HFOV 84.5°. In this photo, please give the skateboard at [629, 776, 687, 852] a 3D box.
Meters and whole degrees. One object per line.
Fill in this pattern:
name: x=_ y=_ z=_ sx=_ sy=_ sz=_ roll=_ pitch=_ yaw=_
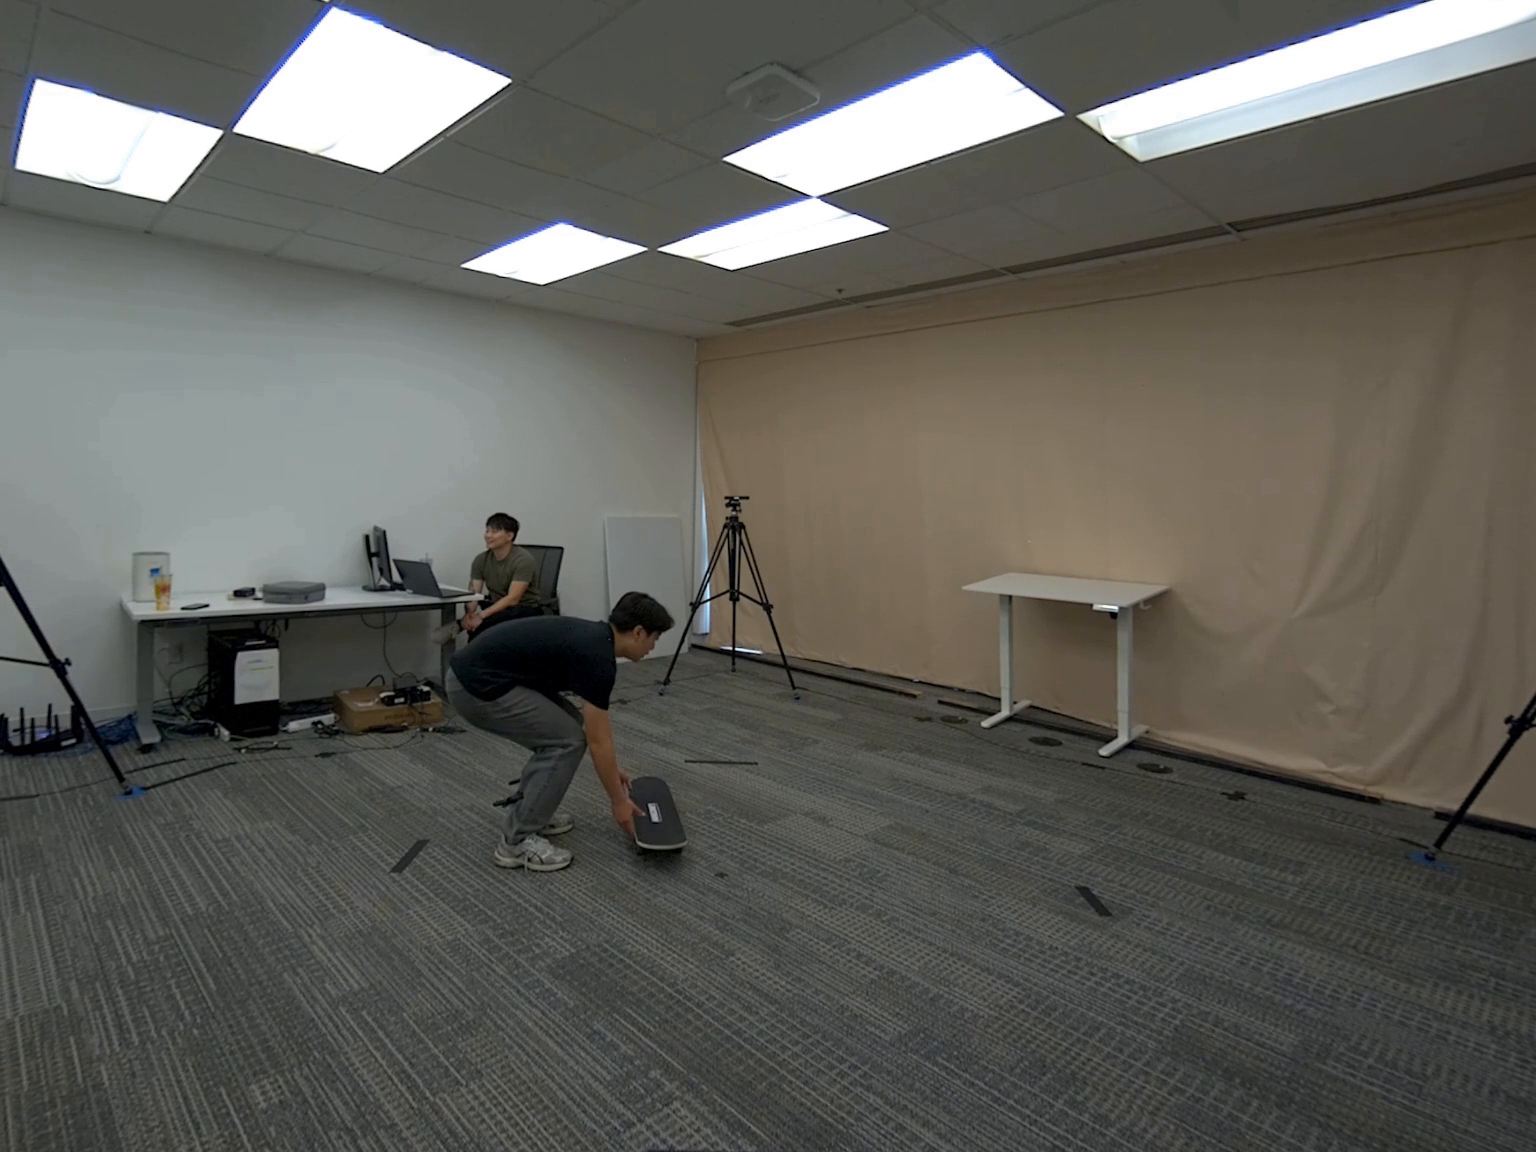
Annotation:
skateboard: x=-0.477 y=1.004 z=3.473 sx=0.191 sy=0.110 sz=0.795 roll=0 pitch=5 yaw=-13
